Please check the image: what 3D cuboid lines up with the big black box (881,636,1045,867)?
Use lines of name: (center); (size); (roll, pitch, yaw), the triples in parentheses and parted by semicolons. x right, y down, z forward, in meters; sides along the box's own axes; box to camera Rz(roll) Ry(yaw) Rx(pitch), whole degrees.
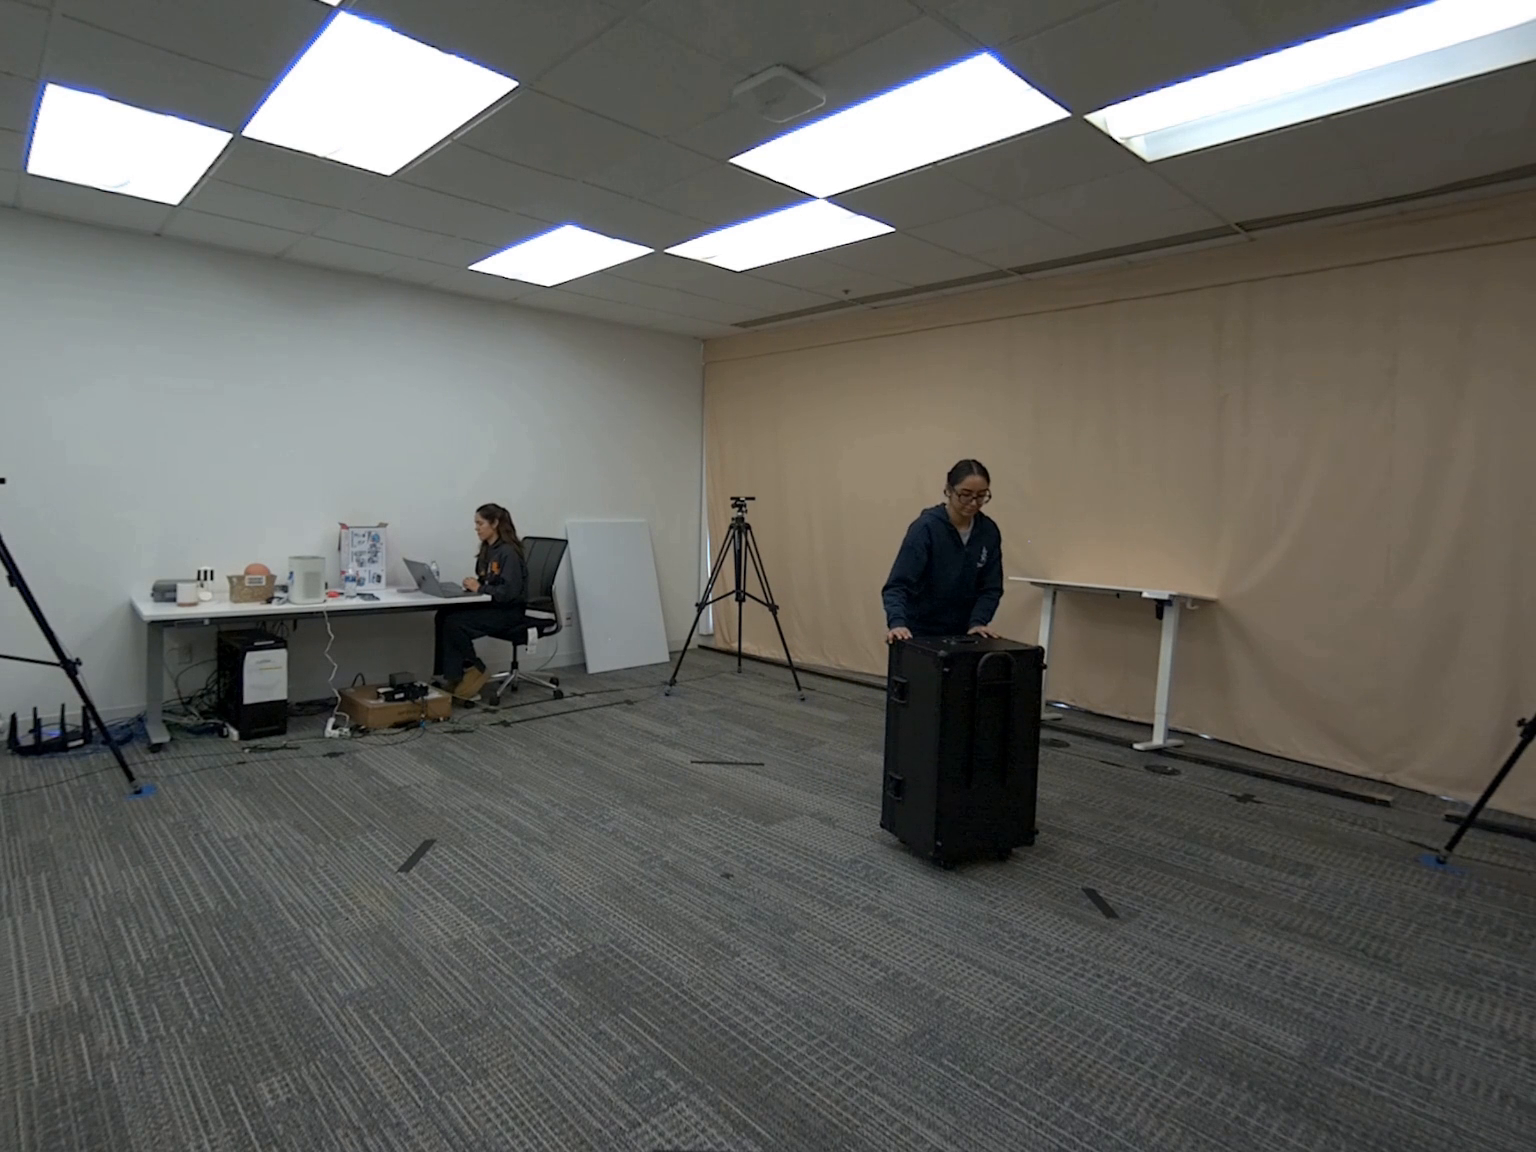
big black box: (0.760, 0.682, 3.341); (0.512, 0.859, 0.404); (0, 4, -25)
